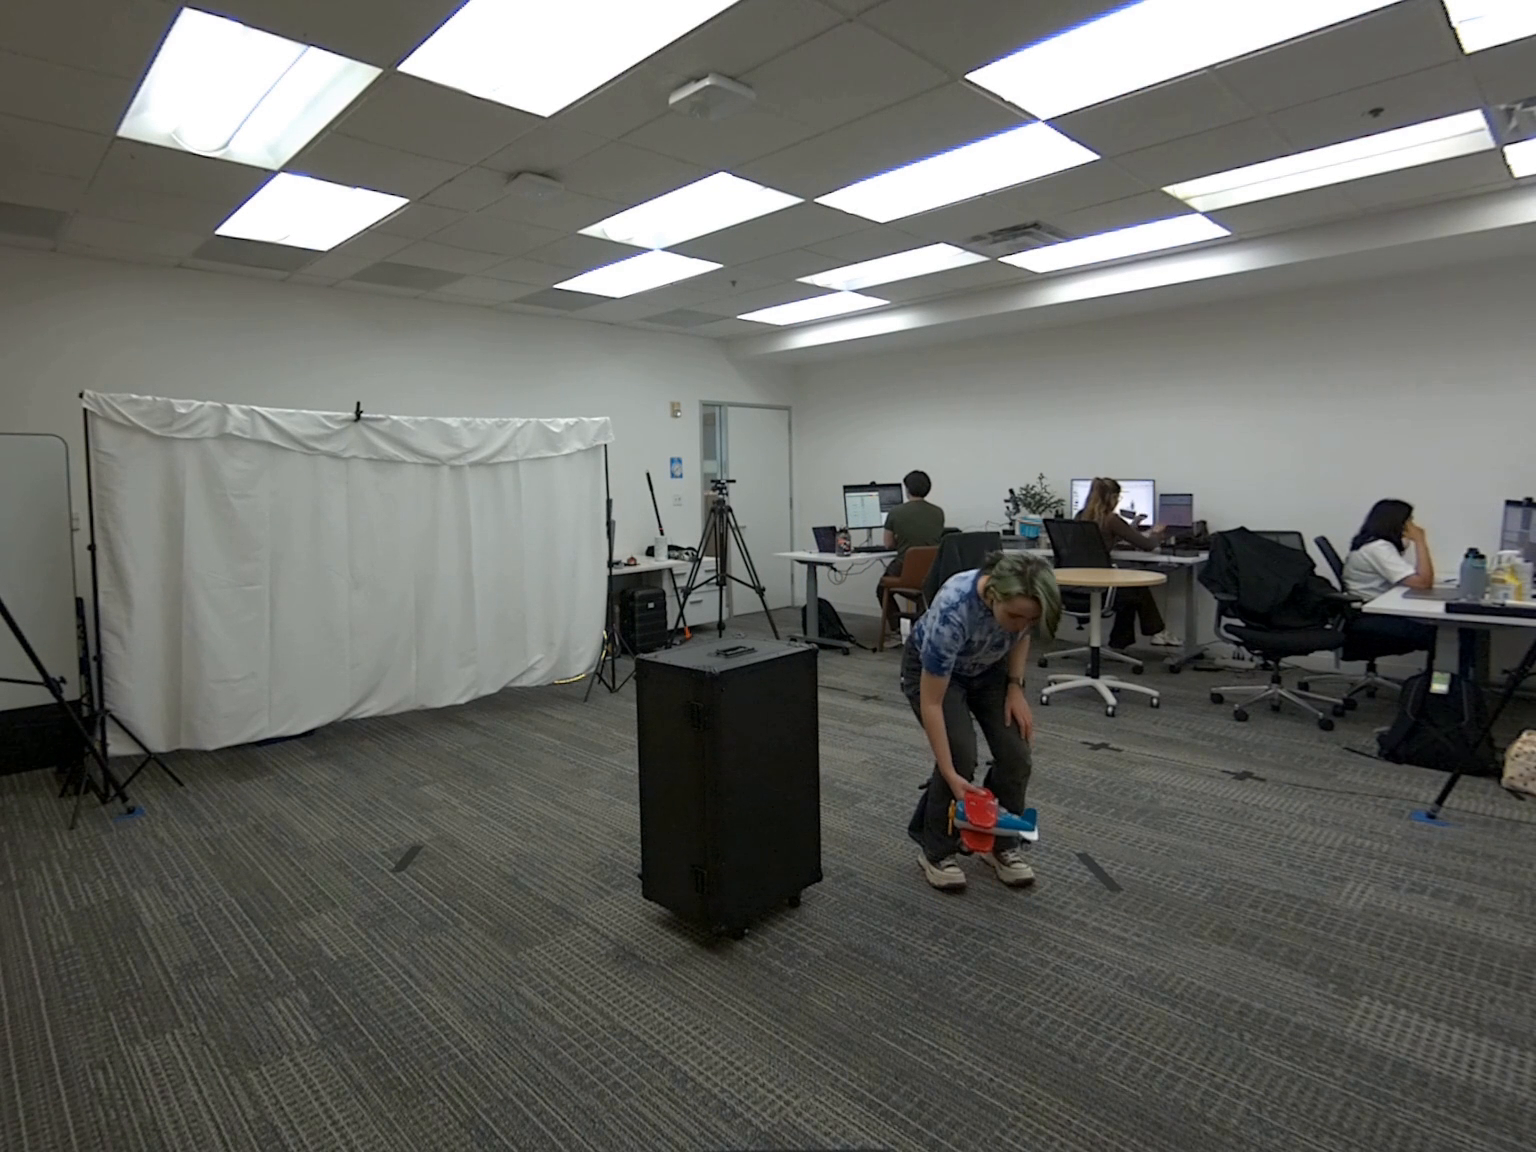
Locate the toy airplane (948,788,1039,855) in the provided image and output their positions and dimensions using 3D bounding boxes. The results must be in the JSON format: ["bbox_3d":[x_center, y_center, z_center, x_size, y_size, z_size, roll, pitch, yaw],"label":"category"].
[{"bbox_3d":[0.690,0.767,2.642,0.257,0.155,0.255,-9,7,-11],"label":"toy airplane"}]
